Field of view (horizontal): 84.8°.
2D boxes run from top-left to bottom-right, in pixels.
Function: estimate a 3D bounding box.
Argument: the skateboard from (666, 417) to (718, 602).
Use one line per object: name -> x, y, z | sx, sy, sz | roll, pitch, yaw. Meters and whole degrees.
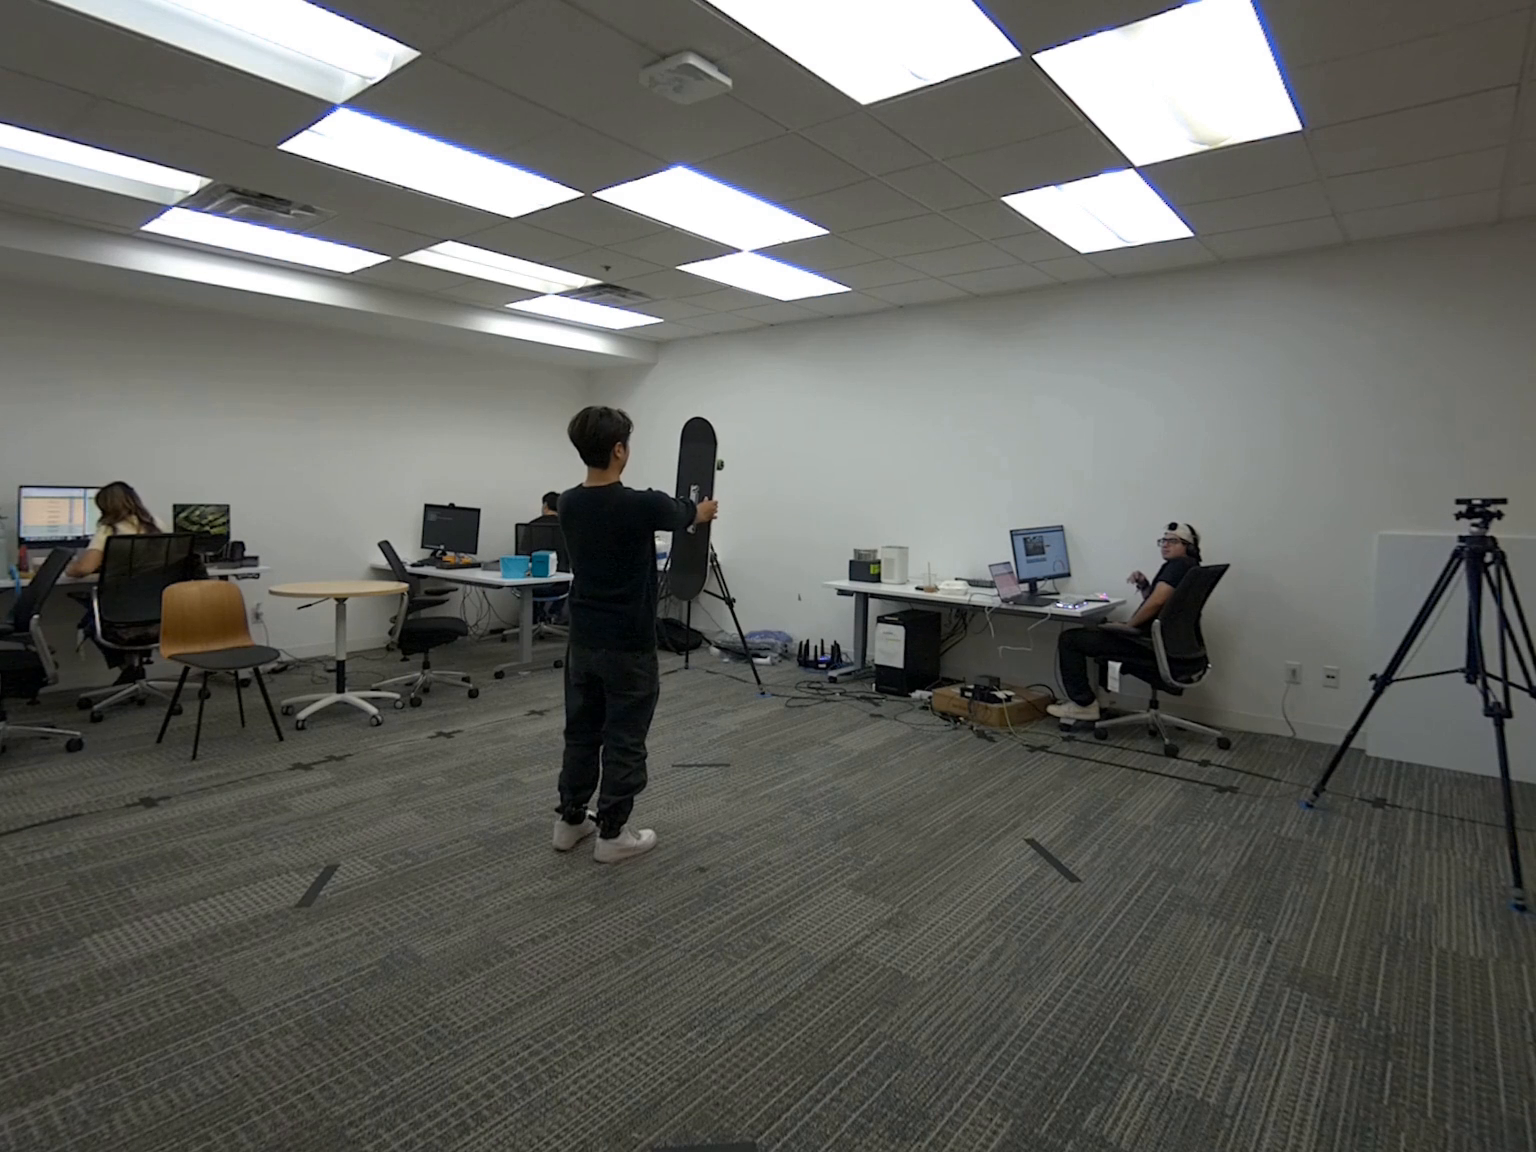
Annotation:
skateboard -> -0.322, -0.289, 3.665 | 0.199, 0.786, 0.107 | 5, -1, 30
